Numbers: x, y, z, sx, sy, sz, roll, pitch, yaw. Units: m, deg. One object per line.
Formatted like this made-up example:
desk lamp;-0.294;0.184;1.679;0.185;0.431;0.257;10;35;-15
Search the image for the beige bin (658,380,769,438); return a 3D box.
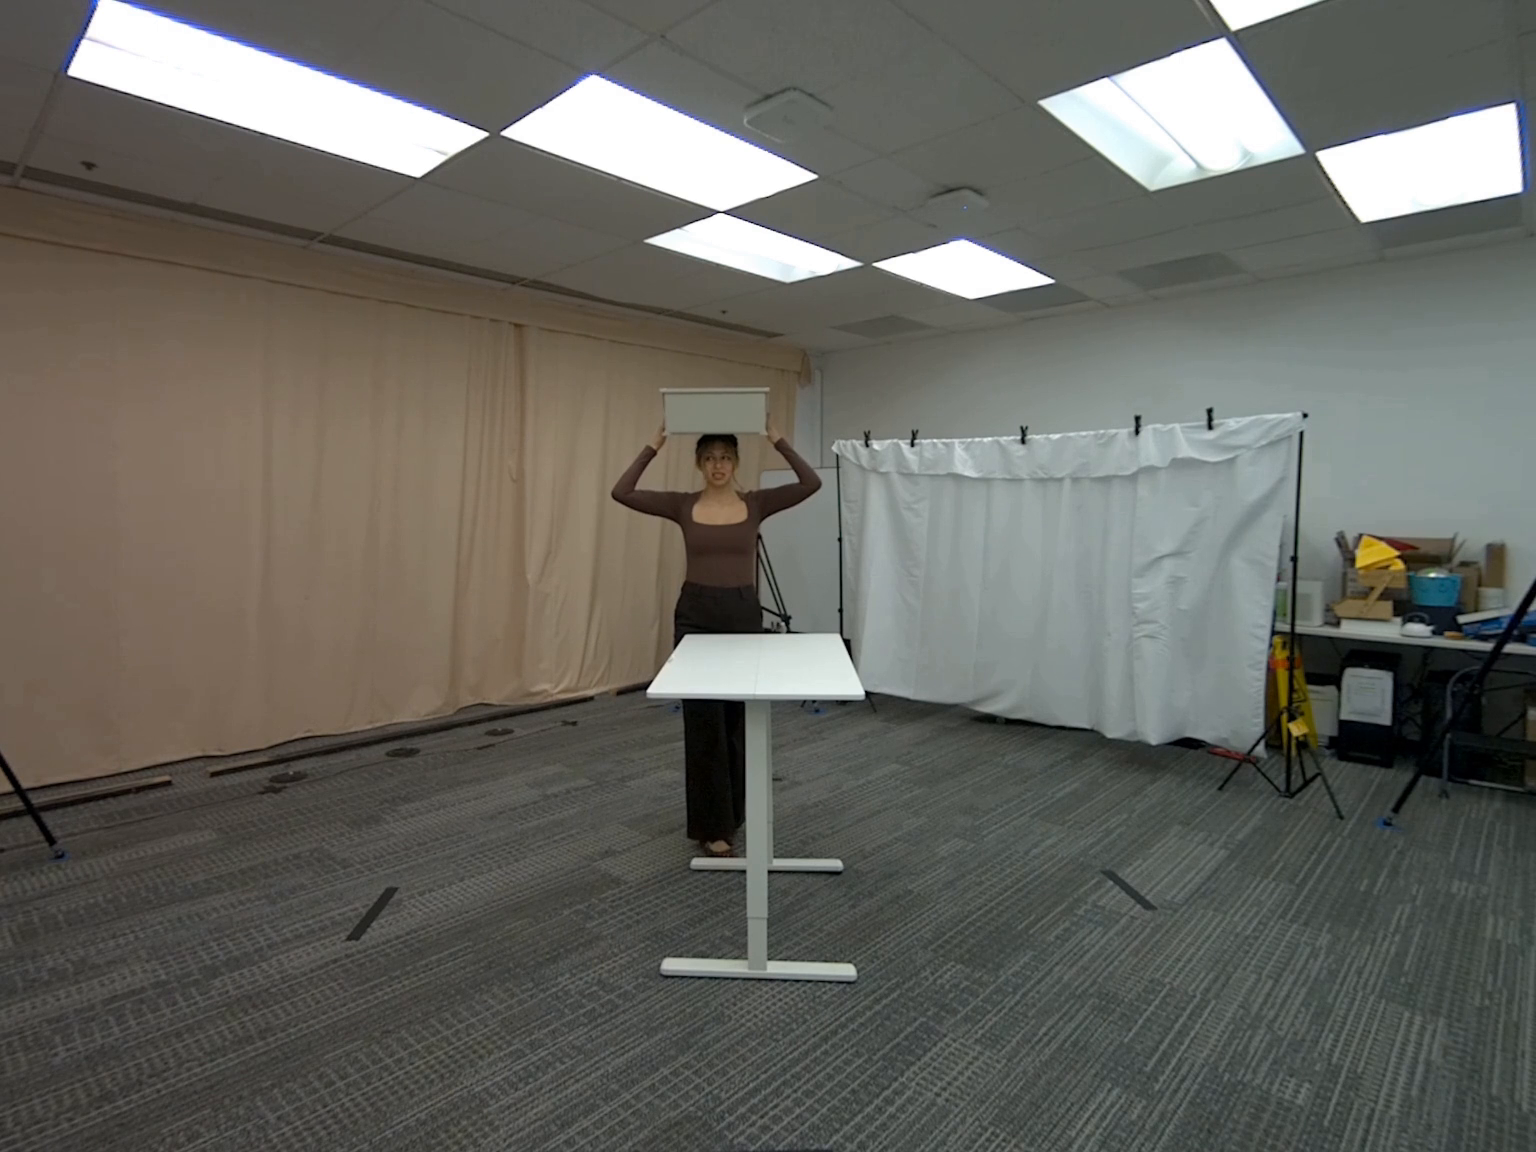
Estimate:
beige bin;-0.215;-0.684;3.435;0.423;0.187;0.380;0;16;1
